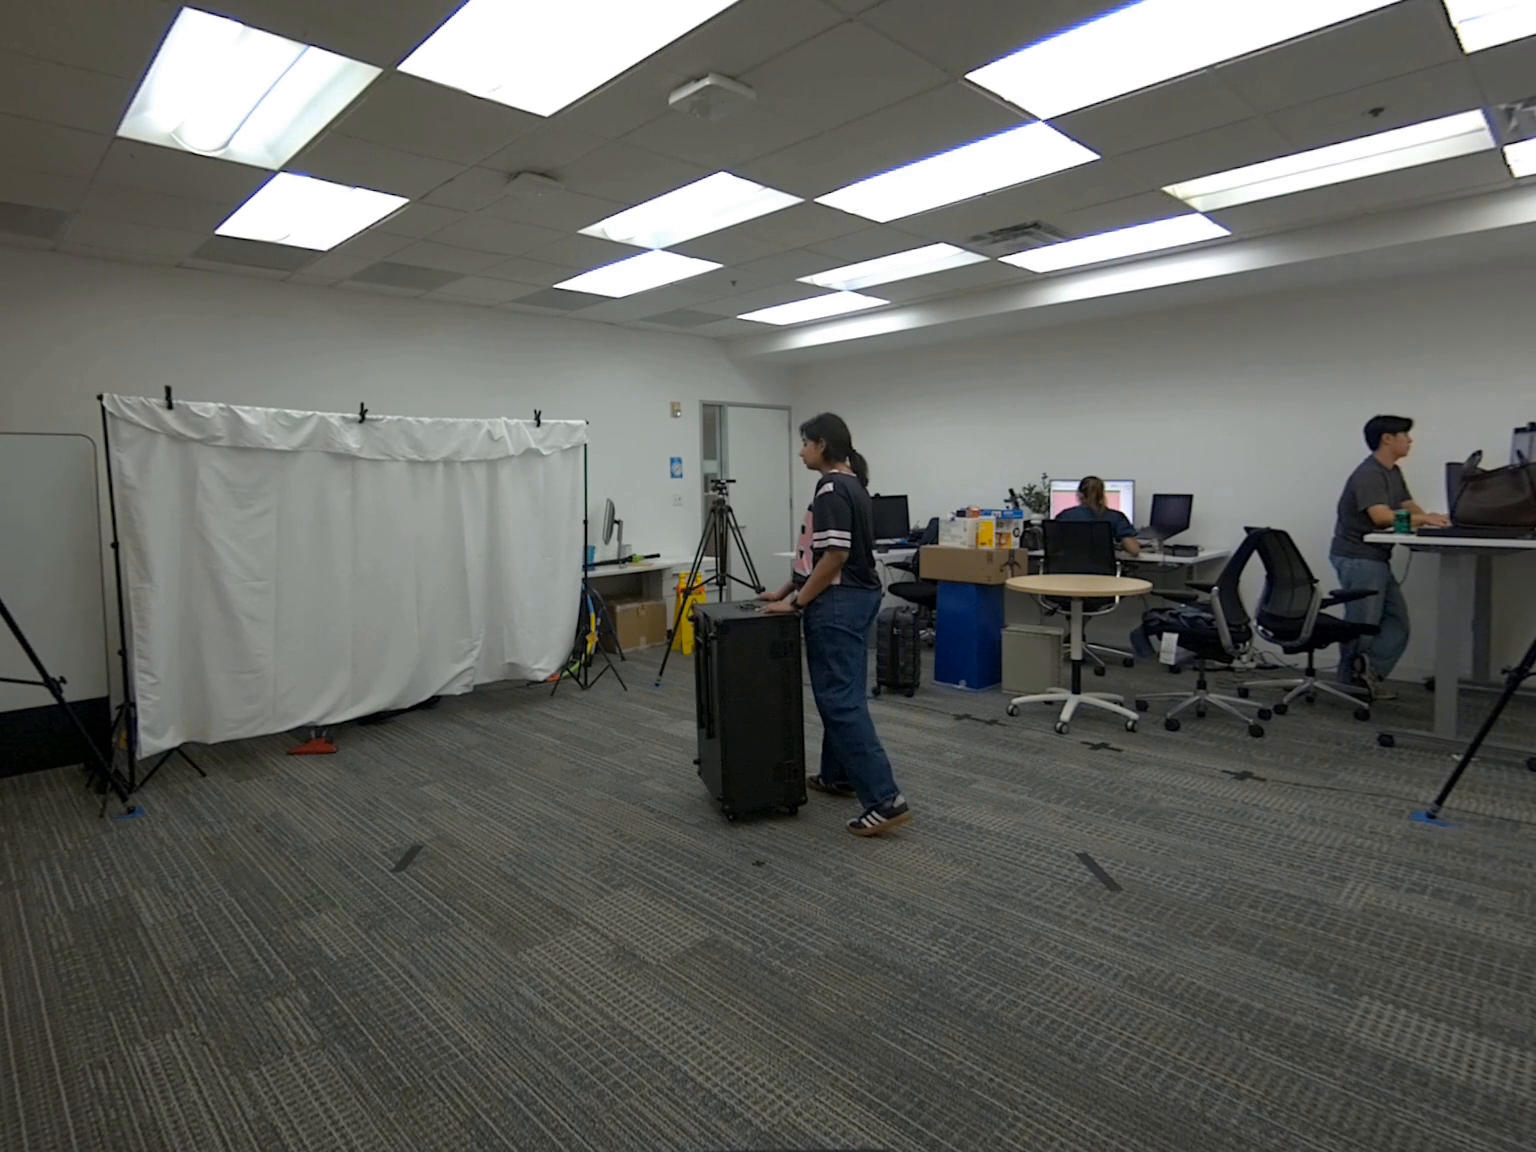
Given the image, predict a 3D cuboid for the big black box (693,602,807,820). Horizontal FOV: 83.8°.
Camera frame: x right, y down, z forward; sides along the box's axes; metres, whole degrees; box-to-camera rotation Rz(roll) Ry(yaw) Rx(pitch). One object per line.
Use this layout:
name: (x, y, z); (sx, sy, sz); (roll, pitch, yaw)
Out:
big black box: (-0.095, 0.561, 3.646); (0.380, 0.865, 0.532); (-3, 4, -16)
